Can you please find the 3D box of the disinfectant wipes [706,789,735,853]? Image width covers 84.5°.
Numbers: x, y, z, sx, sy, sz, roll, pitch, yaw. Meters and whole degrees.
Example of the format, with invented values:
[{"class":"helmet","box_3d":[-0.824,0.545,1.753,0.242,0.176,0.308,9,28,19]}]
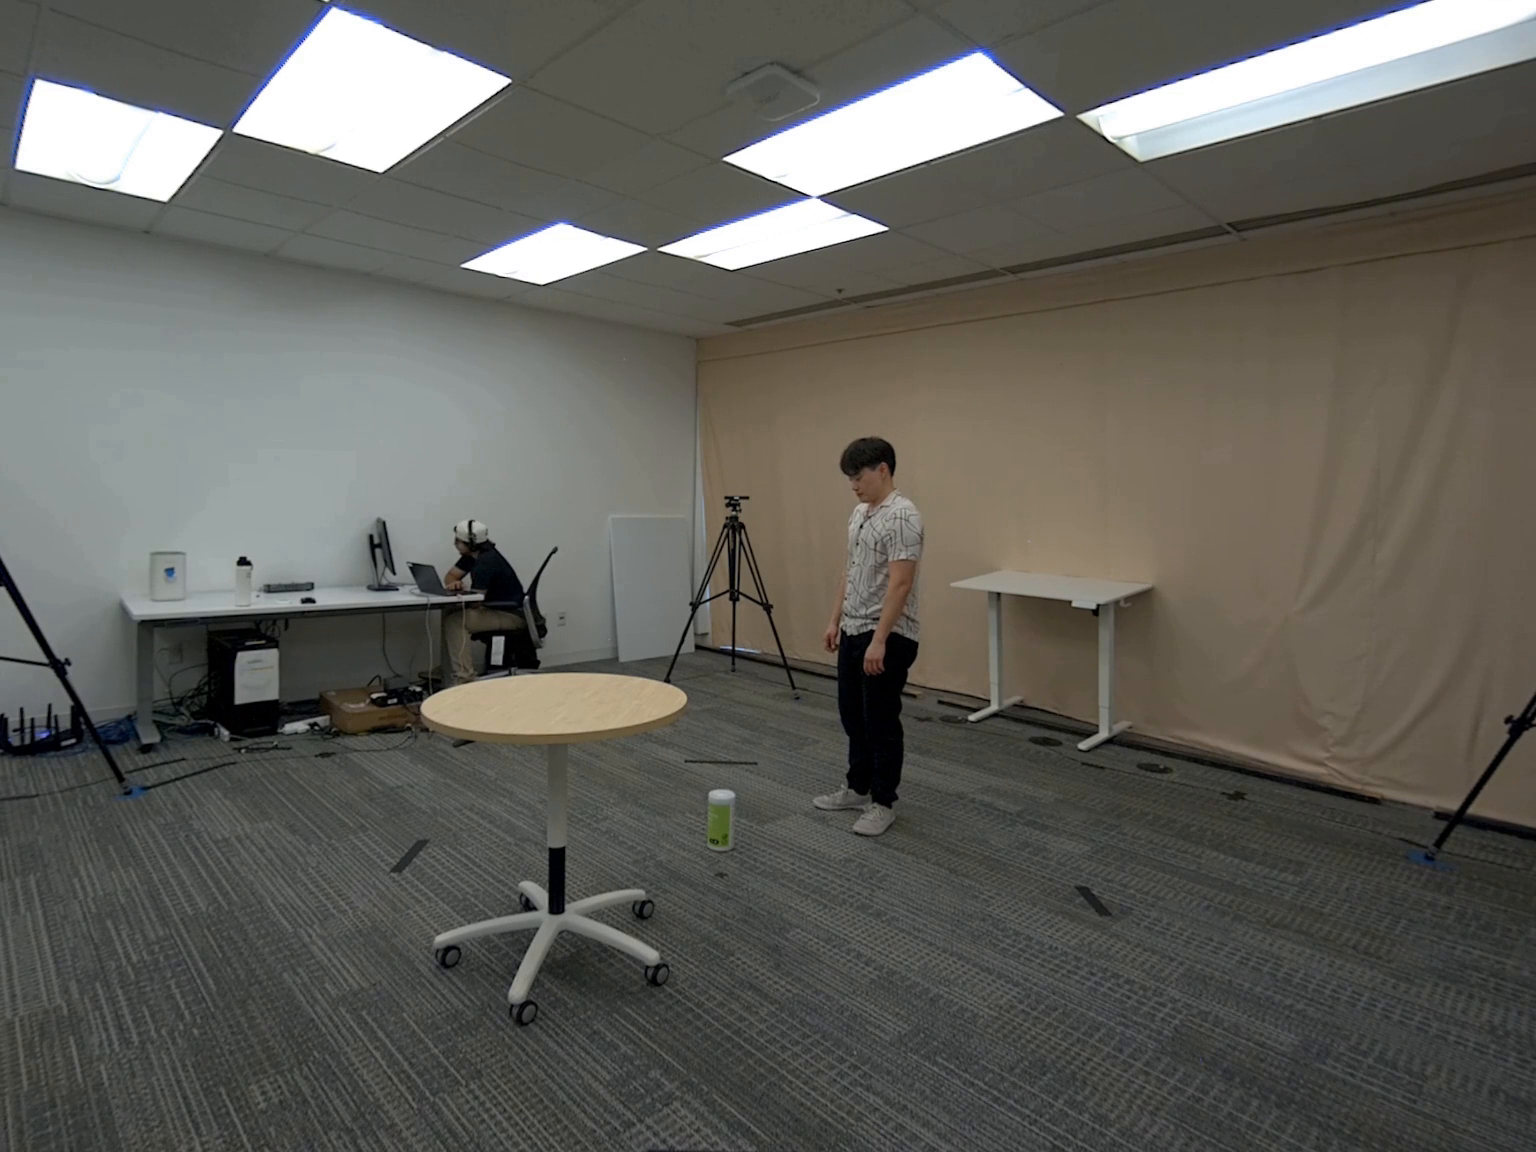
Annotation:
[{"class":"disinfectant wipes","box_3d":[-0.194,0.974,3.360,0.118,0.217,0.118,1,4,-1]}]
